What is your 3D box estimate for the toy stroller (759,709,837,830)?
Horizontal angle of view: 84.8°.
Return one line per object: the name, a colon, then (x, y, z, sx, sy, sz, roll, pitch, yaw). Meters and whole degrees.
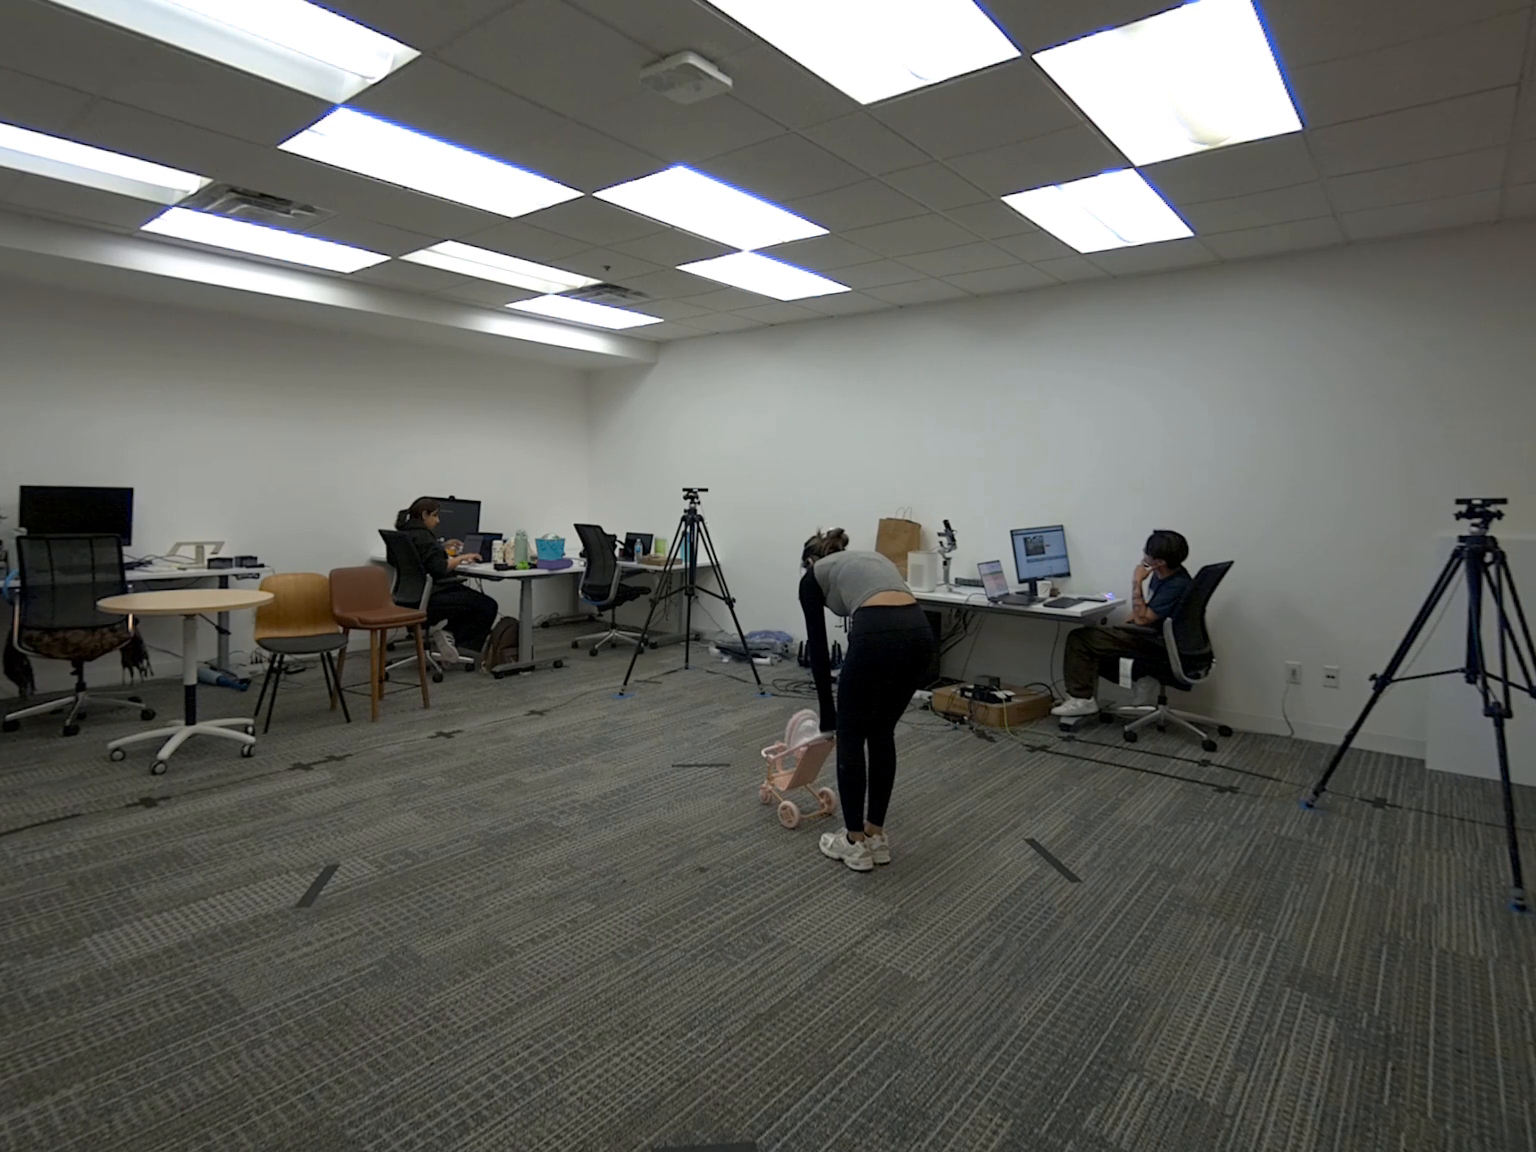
toy stroller: (0.124, 0.800, 3.637, 0.273, 0.529, 0.356, -1, 20, -41)
